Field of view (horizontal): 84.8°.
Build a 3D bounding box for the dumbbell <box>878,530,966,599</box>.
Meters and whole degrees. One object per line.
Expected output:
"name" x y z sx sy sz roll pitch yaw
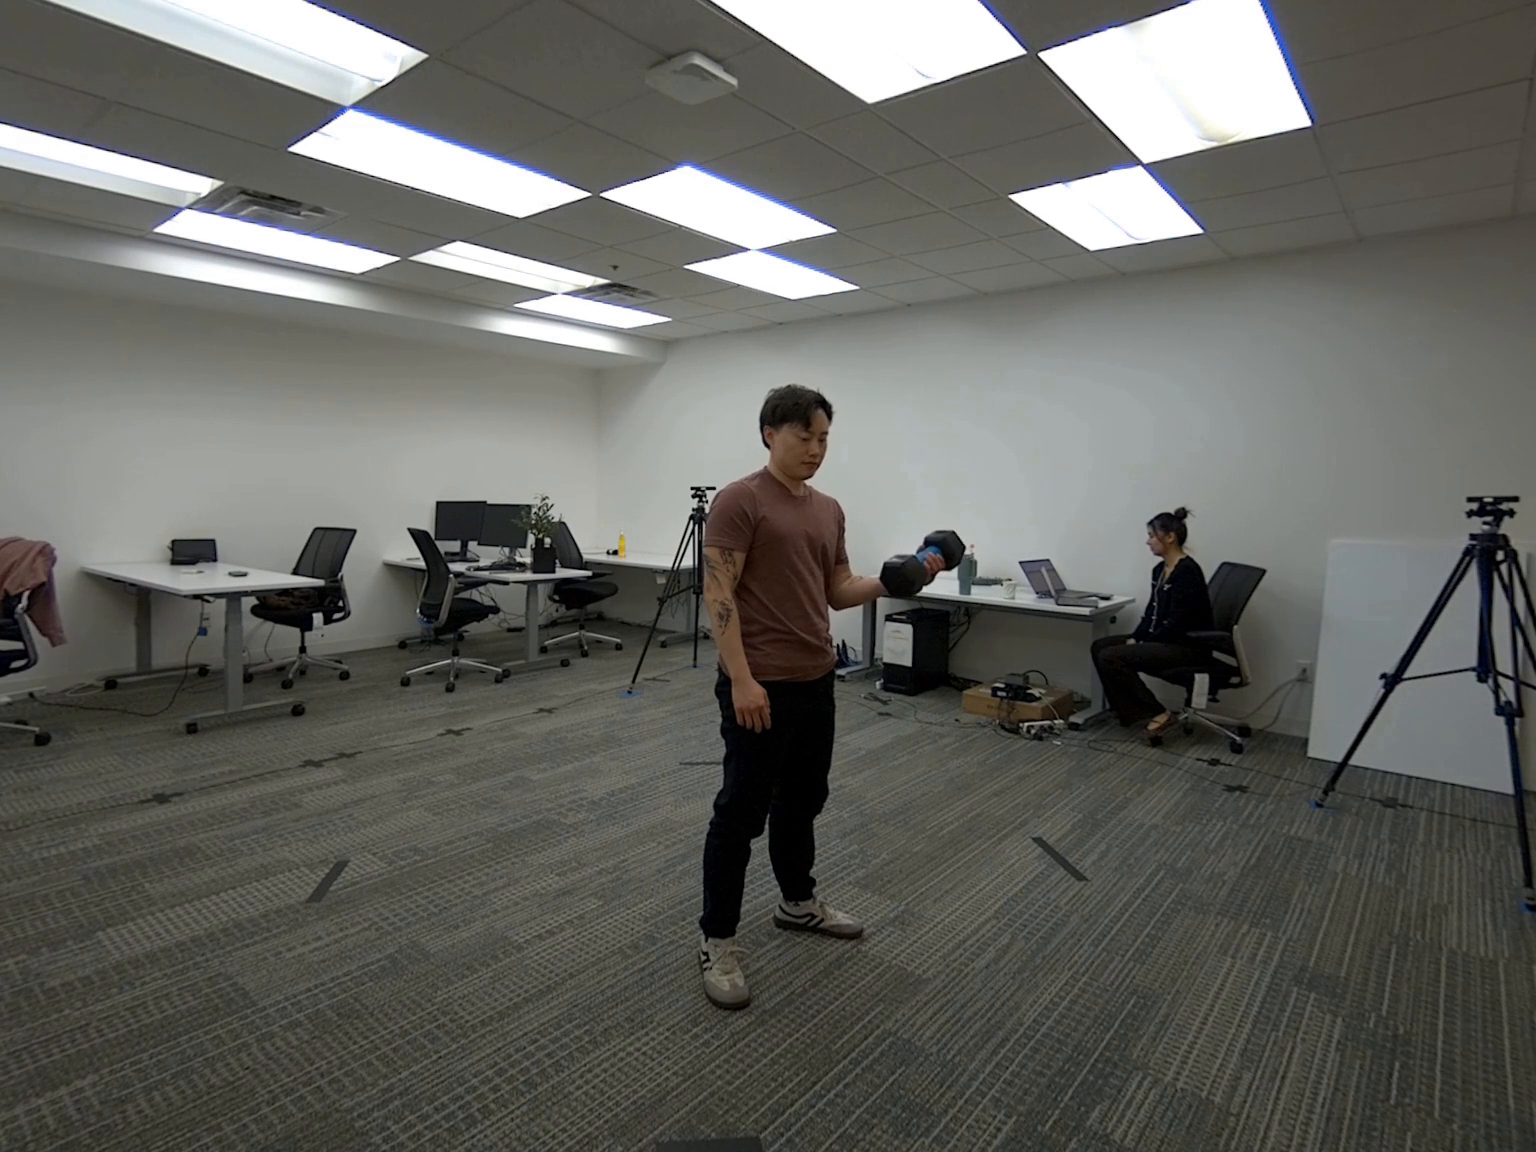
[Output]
"dumbbell" 0.435 -0.032 2.413 0.127 0.107 0.289 2 23 46
